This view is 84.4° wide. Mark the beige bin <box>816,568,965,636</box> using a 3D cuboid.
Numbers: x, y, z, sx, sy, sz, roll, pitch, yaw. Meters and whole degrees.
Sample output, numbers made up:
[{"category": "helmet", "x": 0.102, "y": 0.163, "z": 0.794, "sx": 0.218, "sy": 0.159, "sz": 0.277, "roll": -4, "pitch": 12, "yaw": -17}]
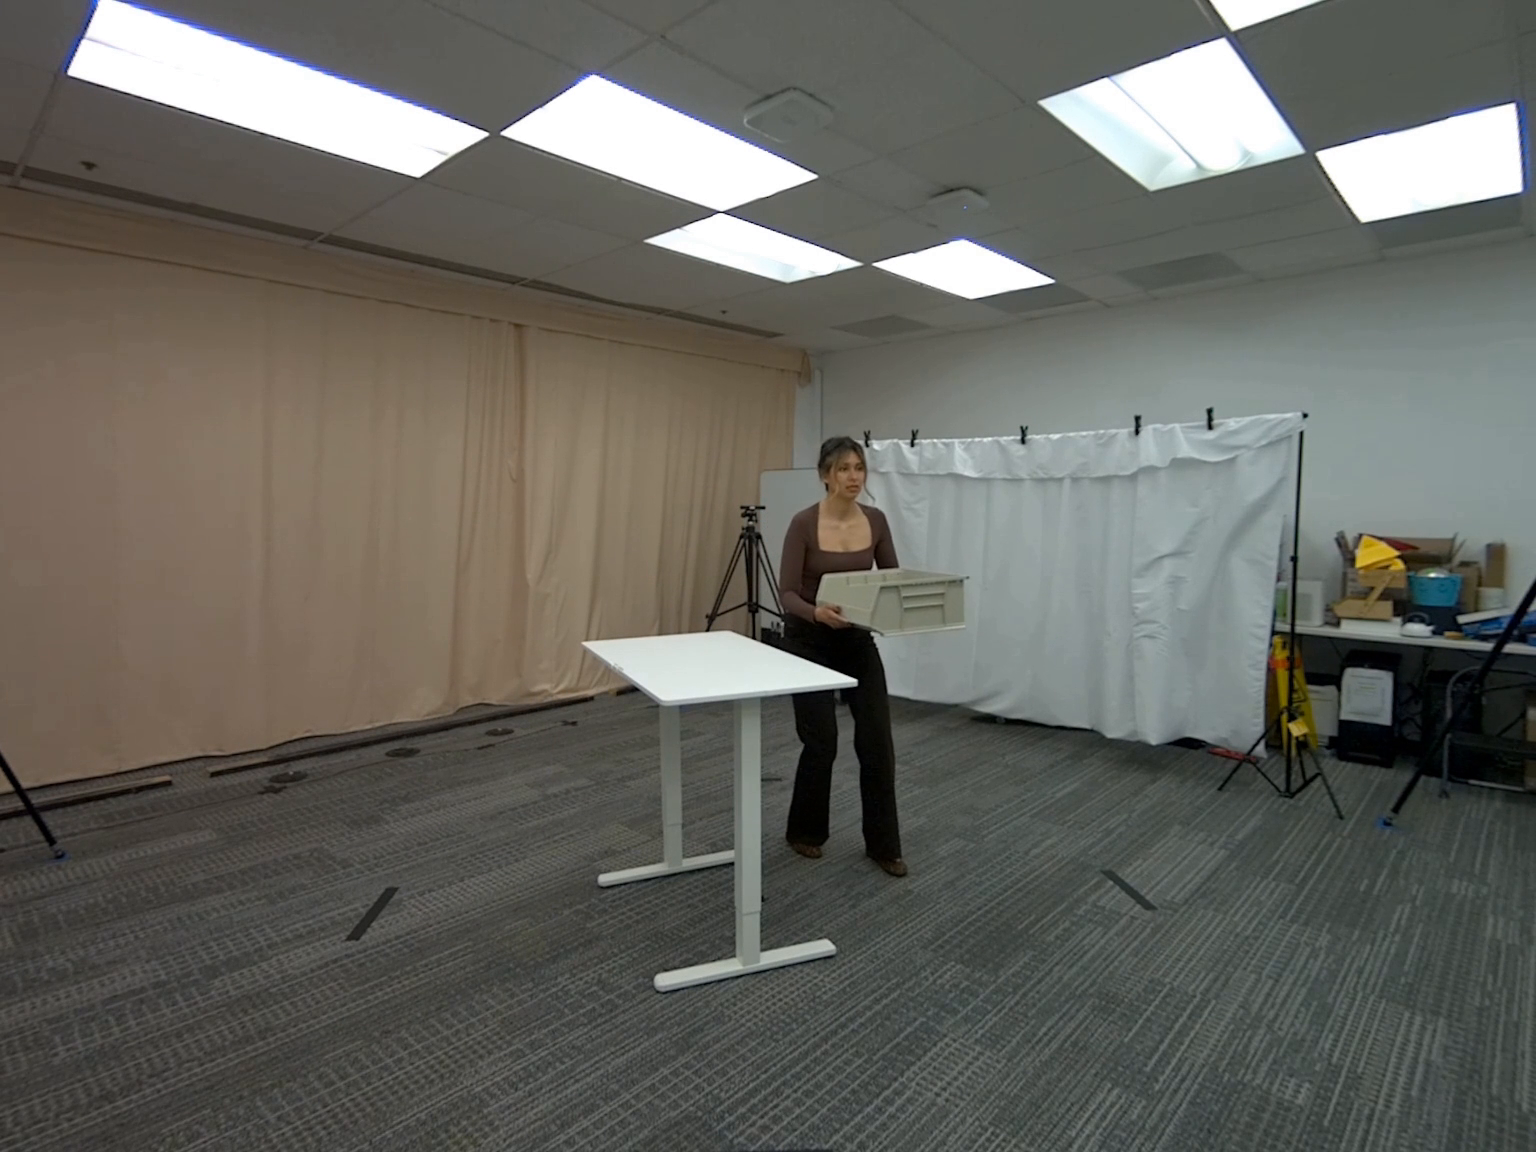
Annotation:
[{"category": "beige bin", "x": 0.417, "y": 0.095, "z": 2.985, "sx": 0.370, "sy": 0.188, "sz": 0.431, "roll": -4, "pitch": 5, "yaw": -20}]
